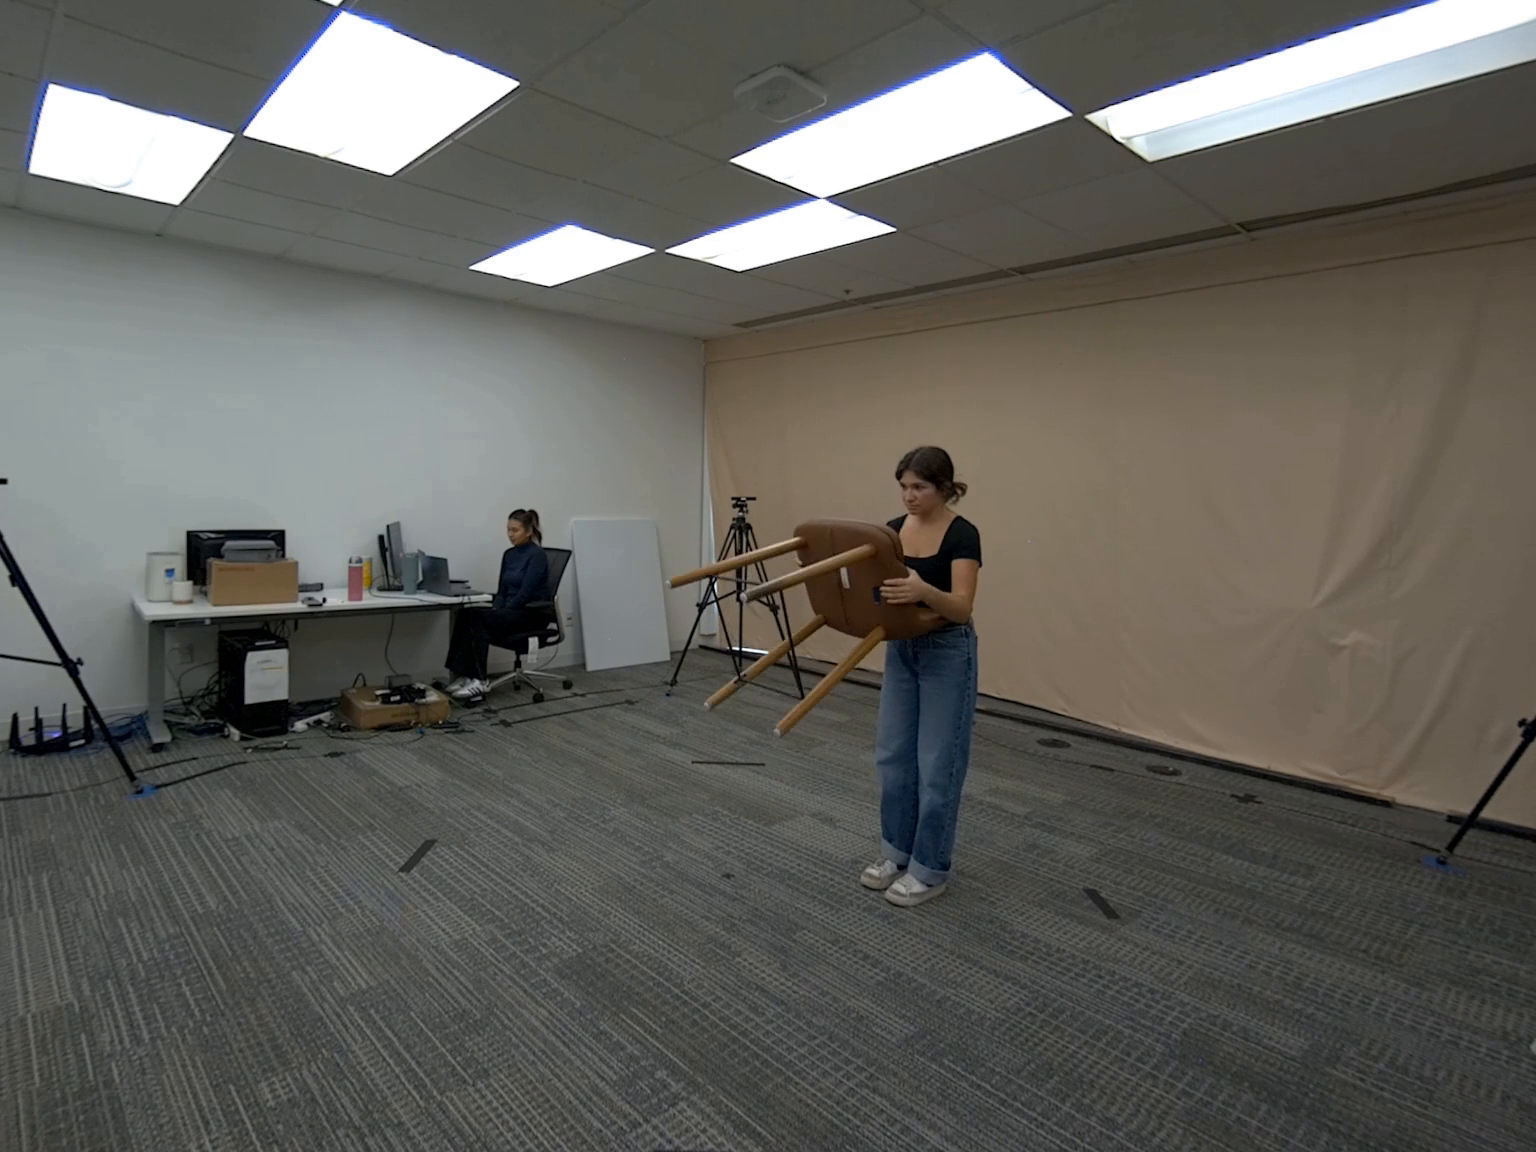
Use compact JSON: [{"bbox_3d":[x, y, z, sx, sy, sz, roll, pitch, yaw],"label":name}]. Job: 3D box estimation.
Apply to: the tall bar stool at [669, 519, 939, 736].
[{"bbox_3d":[0.182,0.089,2.719,0.879,0.461,0.468,-25,18,-35],"label":"tall bar stool"}]
